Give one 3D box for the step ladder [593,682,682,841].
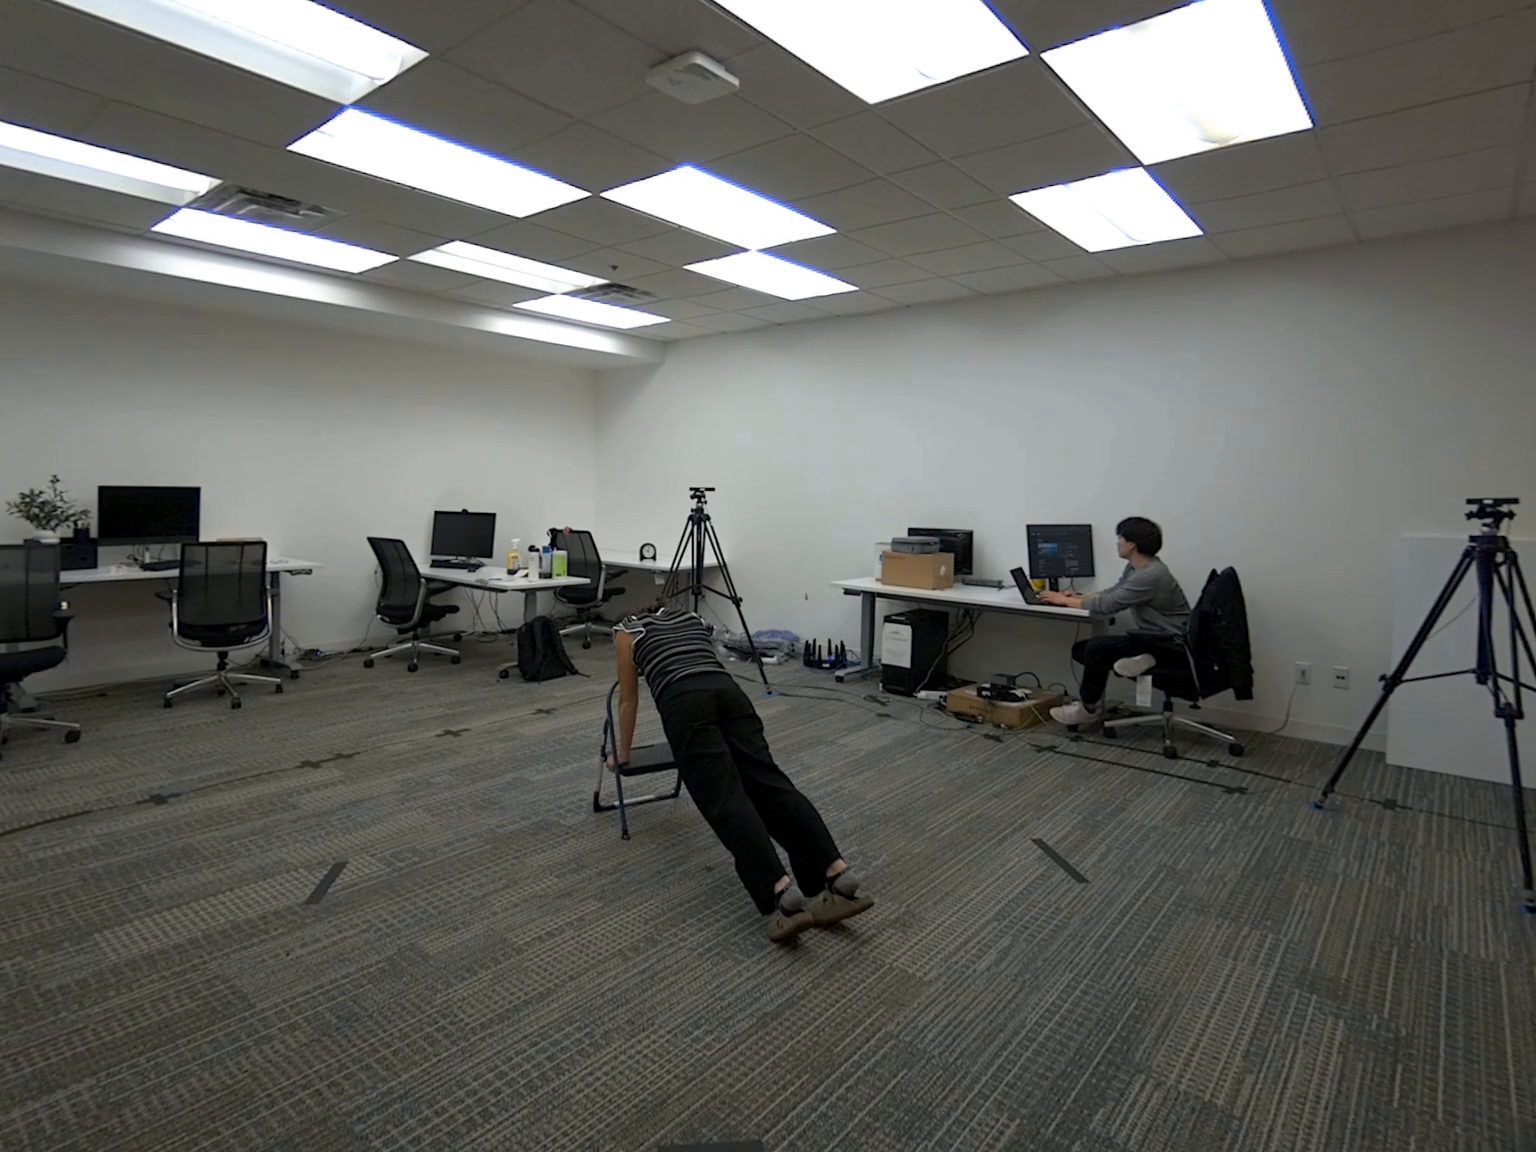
[{"bbox_3d":[-0.496,0.714,3.593,0.418,0.605,0.360,-1,3,-33],"label":"step ladder"}]
